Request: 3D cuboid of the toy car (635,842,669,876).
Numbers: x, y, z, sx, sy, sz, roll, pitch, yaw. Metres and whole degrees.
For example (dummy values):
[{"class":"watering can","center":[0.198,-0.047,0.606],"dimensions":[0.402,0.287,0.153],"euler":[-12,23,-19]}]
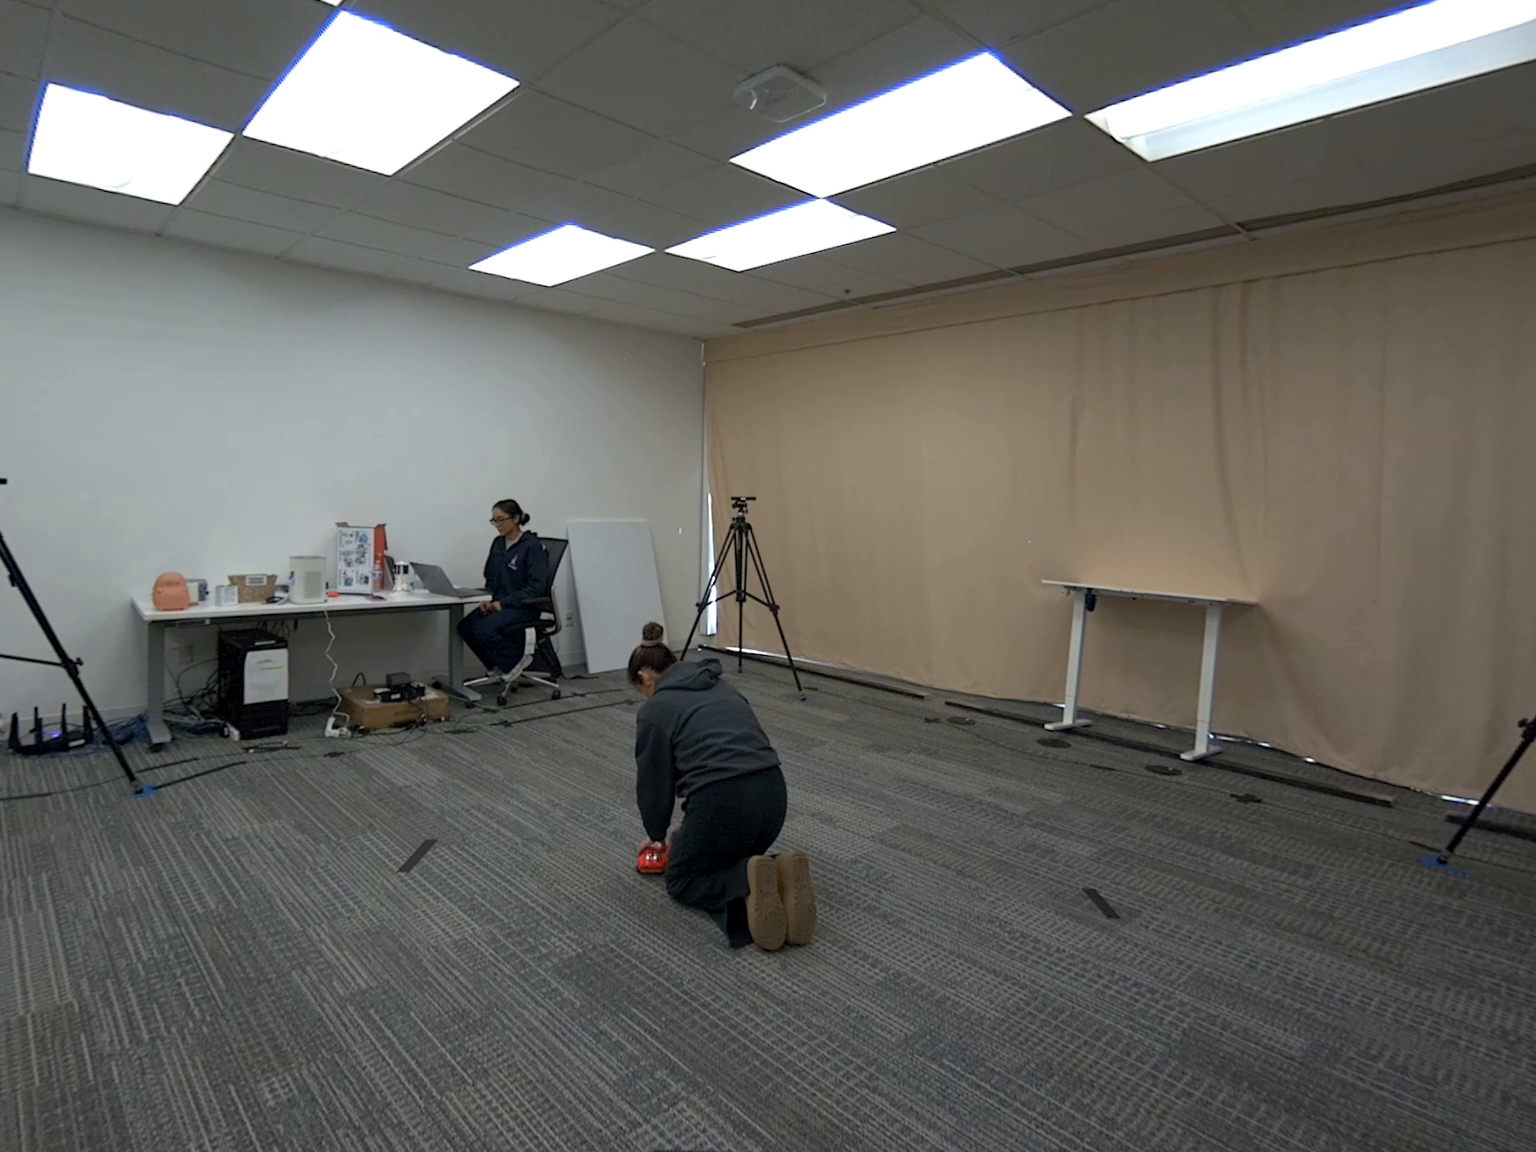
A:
[{"class":"toy car","center":[-0.440,1.061,3.187],"dimensions":[0.130,0.083,0.254],"euler":[1,-5,-3]}]
